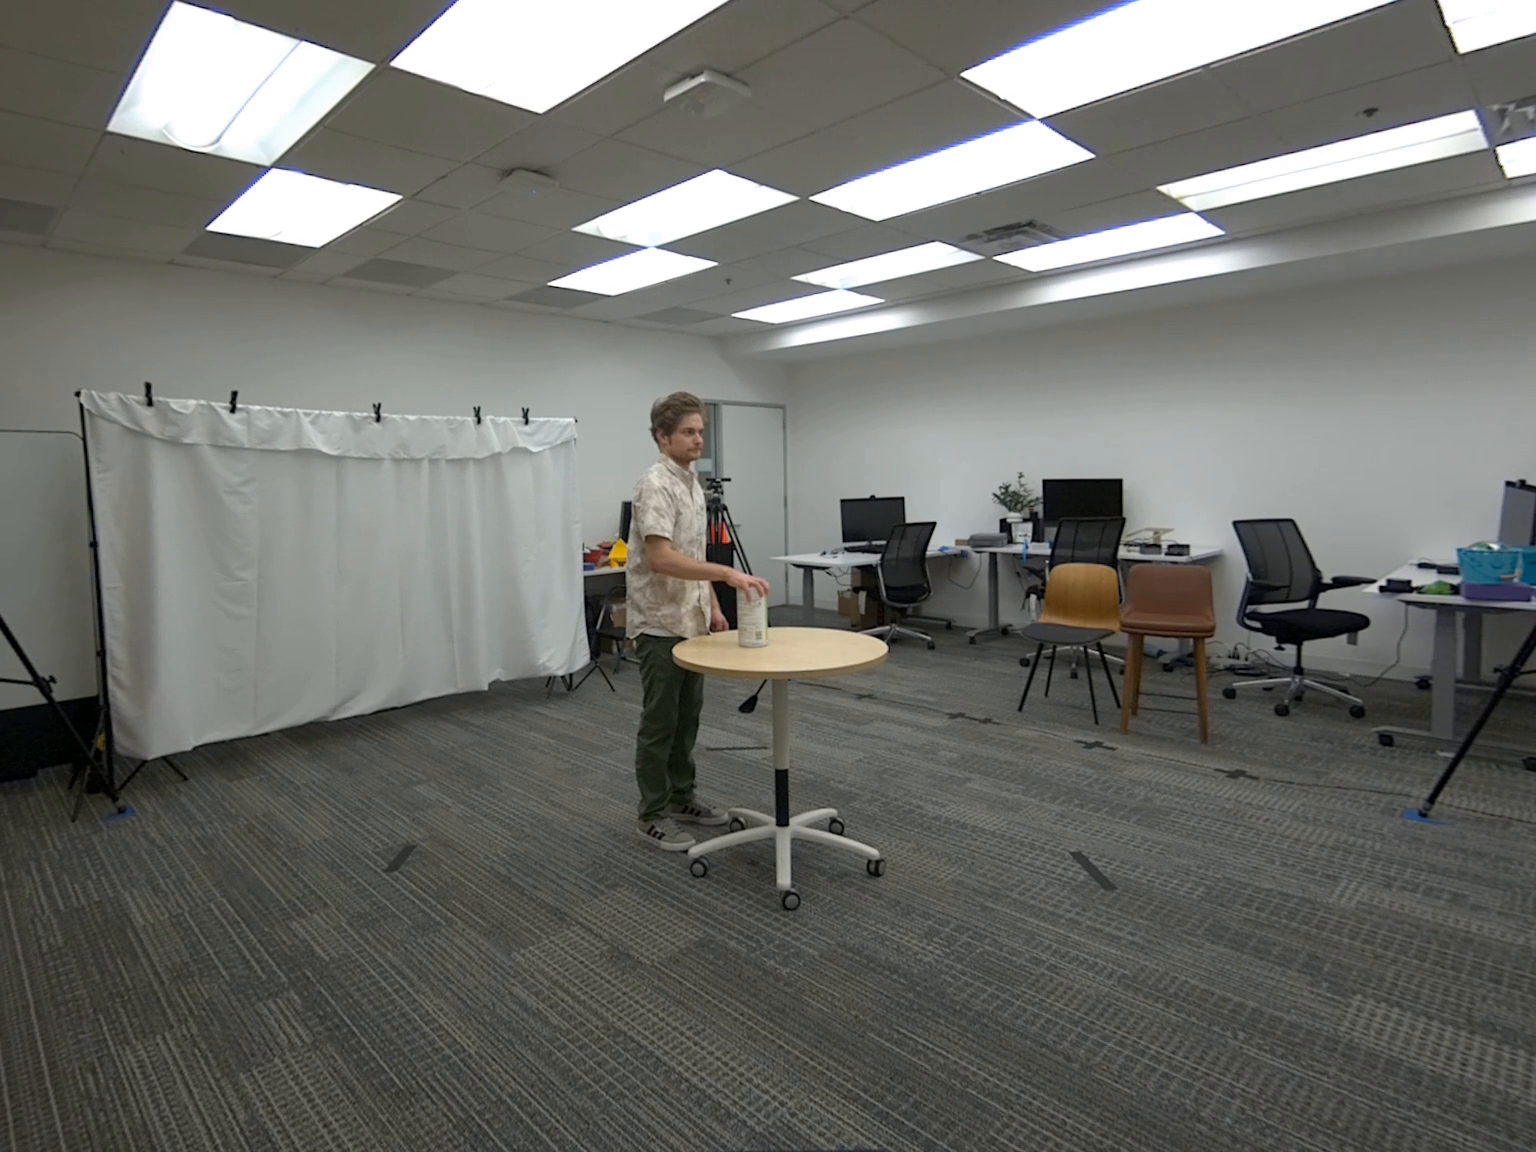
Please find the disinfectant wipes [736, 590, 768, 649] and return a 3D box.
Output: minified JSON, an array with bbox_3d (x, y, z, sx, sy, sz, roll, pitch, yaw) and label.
[{"bbox_3d":[-0.053,0.146,3.097,0.118,0.217,0.118,-1,3,-2],"label":"disinfectant wipes"}]
